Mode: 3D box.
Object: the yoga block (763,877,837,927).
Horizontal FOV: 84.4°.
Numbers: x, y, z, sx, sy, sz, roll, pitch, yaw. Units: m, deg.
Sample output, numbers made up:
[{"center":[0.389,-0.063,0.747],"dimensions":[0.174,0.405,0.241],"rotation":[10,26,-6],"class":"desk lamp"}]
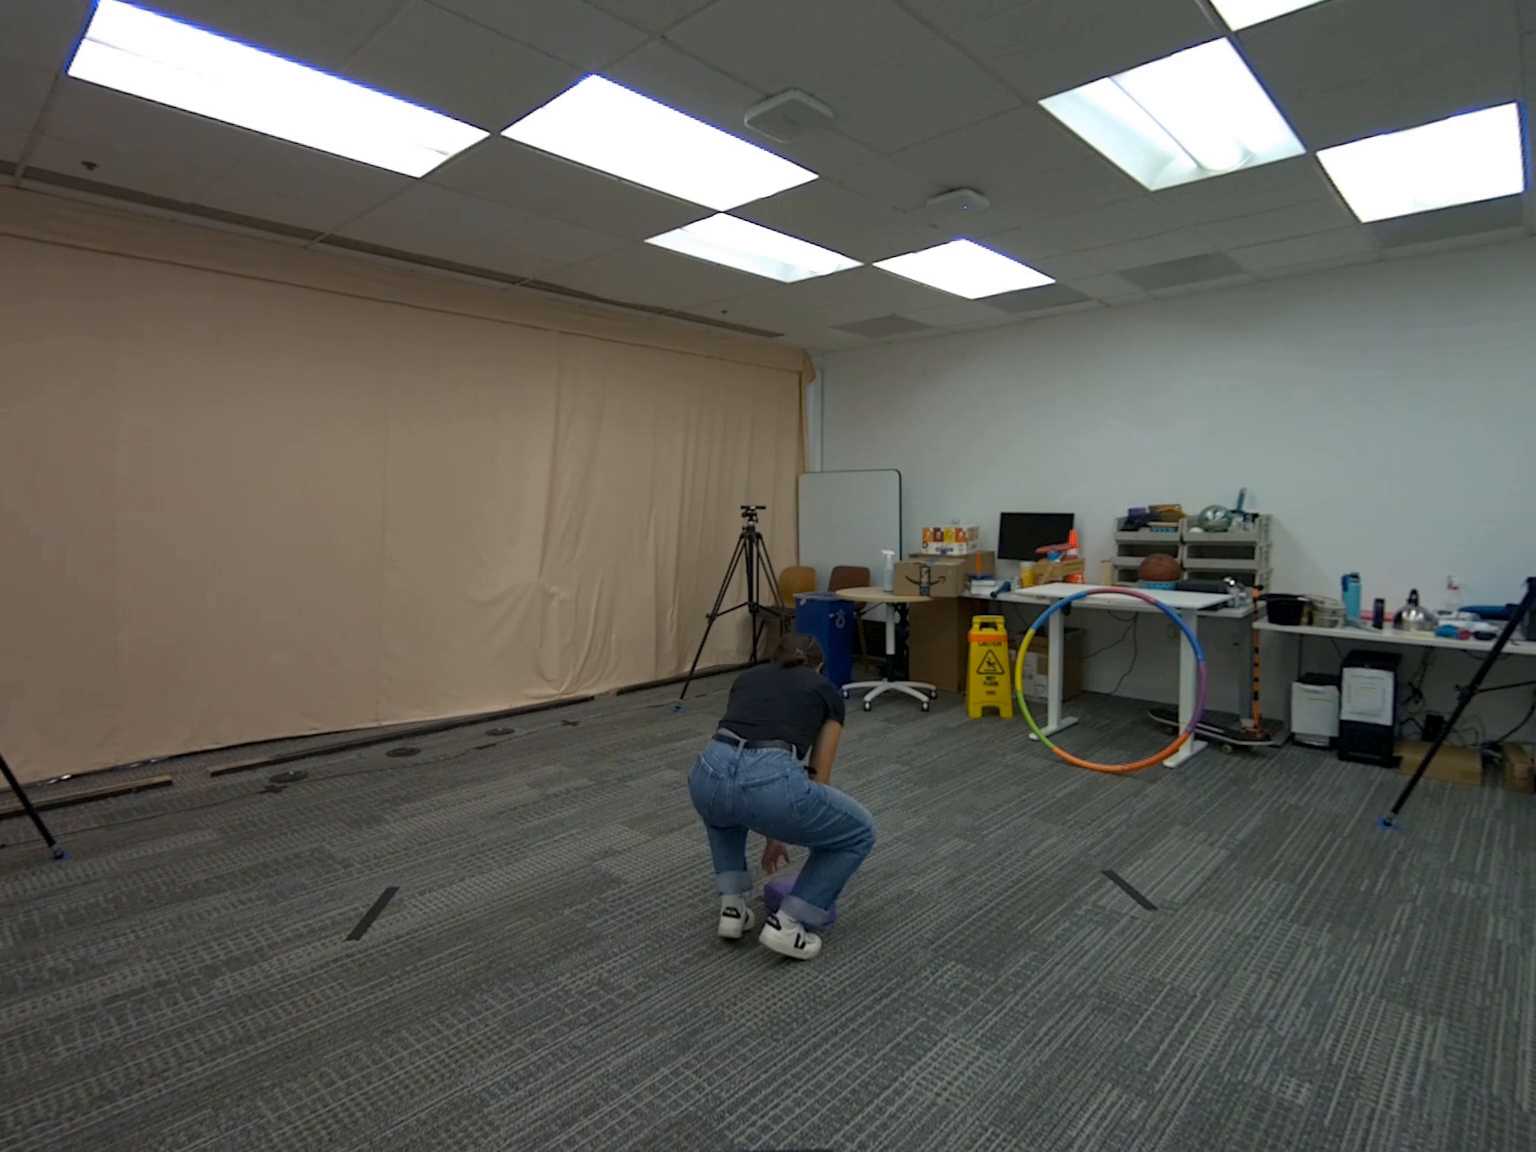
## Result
[{"center":[0.120,1.112,2.867],"dimensions":[0.145,0.076,0.236],"rotation":[-2,5,-31],"class":"yoga block"}]
